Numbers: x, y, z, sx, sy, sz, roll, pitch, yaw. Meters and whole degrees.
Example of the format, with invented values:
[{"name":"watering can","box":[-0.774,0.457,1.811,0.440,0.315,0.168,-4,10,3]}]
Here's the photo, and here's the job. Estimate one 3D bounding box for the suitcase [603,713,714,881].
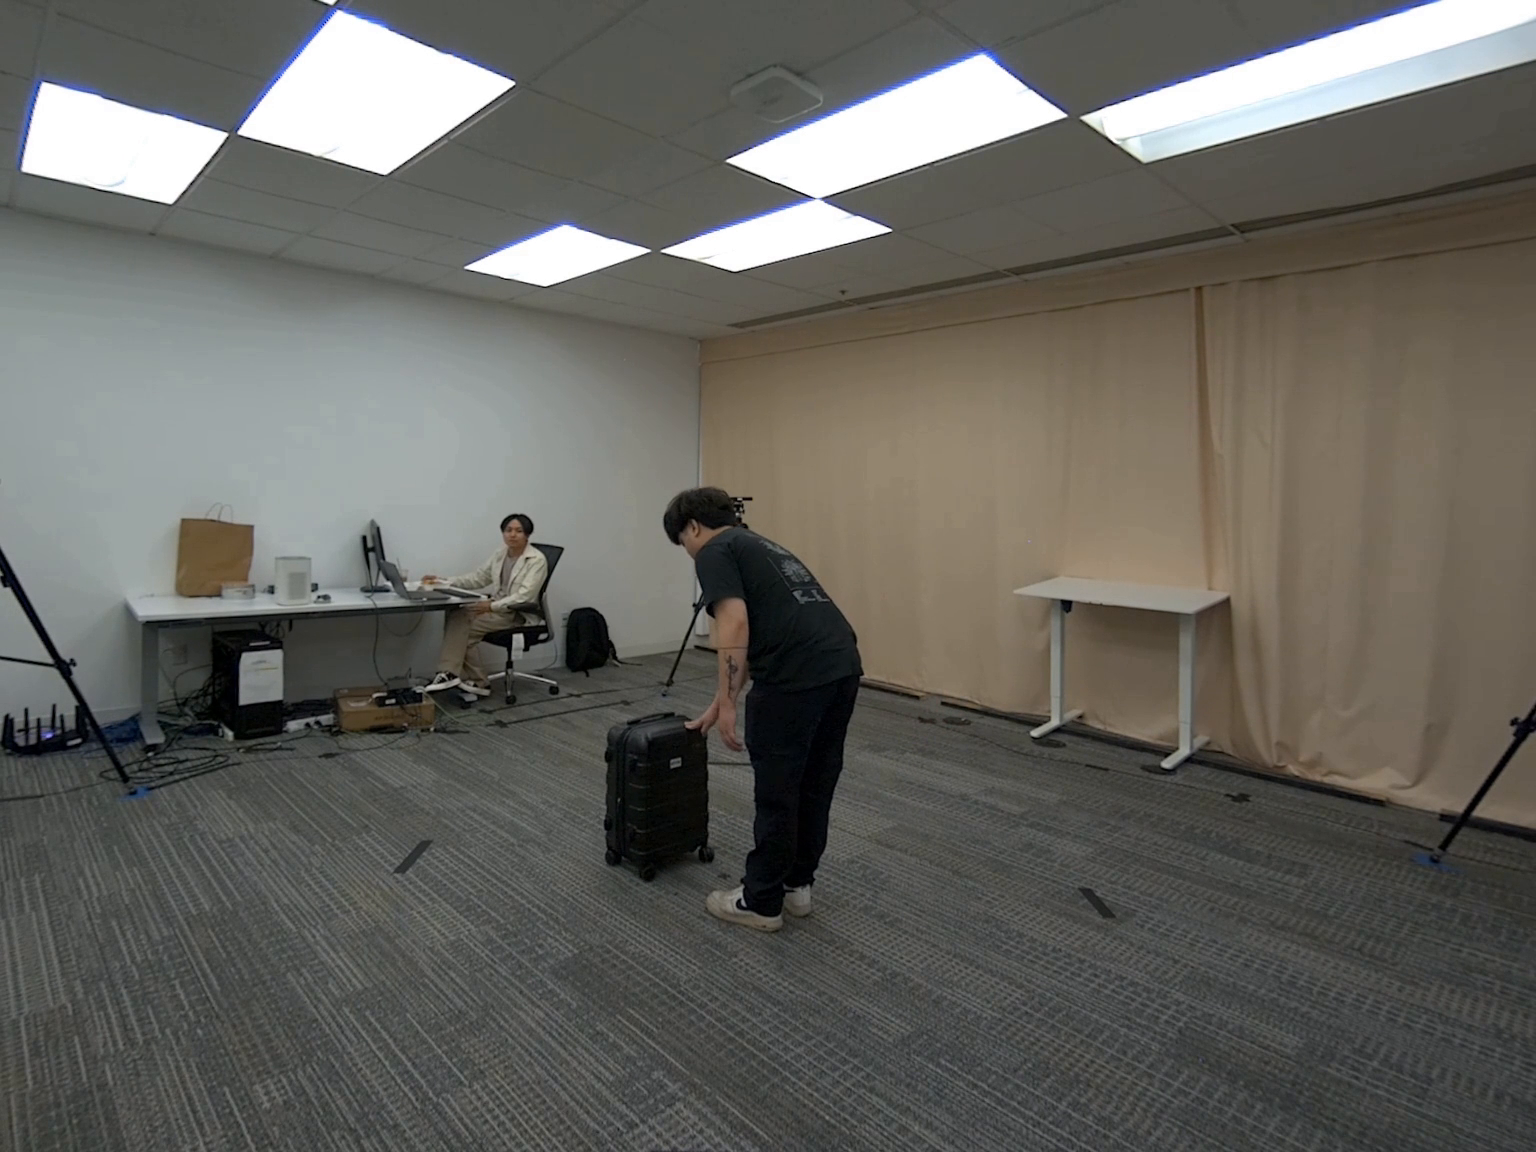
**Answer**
[{"name":"suitcase","box":[-0.429,0.814,3.216,0.367,0.548,0.254,-2,3,-44]}]
